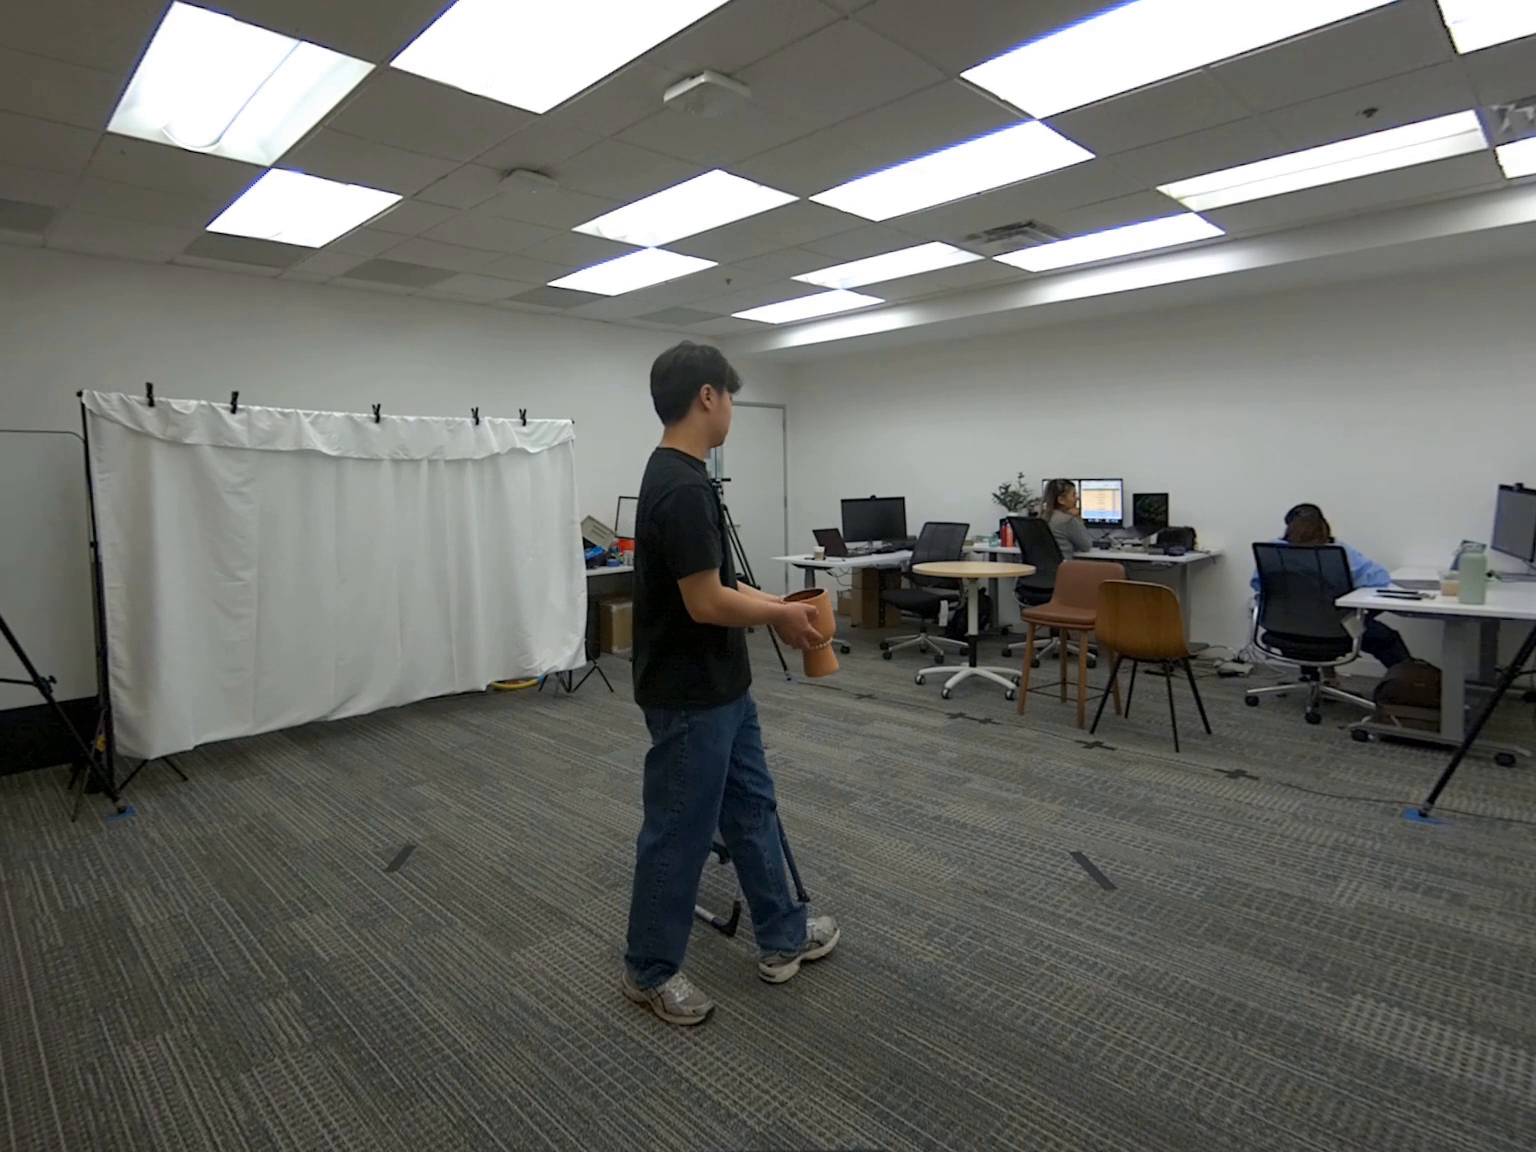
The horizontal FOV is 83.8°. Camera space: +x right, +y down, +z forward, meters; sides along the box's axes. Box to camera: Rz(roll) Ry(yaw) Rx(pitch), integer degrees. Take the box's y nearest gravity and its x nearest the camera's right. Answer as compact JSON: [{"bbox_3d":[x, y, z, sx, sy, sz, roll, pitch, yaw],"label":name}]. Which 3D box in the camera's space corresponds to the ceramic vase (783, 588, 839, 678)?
[{"bbox_3d":[0.126,0.156,2.337,0.156,0.218,0.138,-19,10,-39],"label":"ceramic vase"}]
